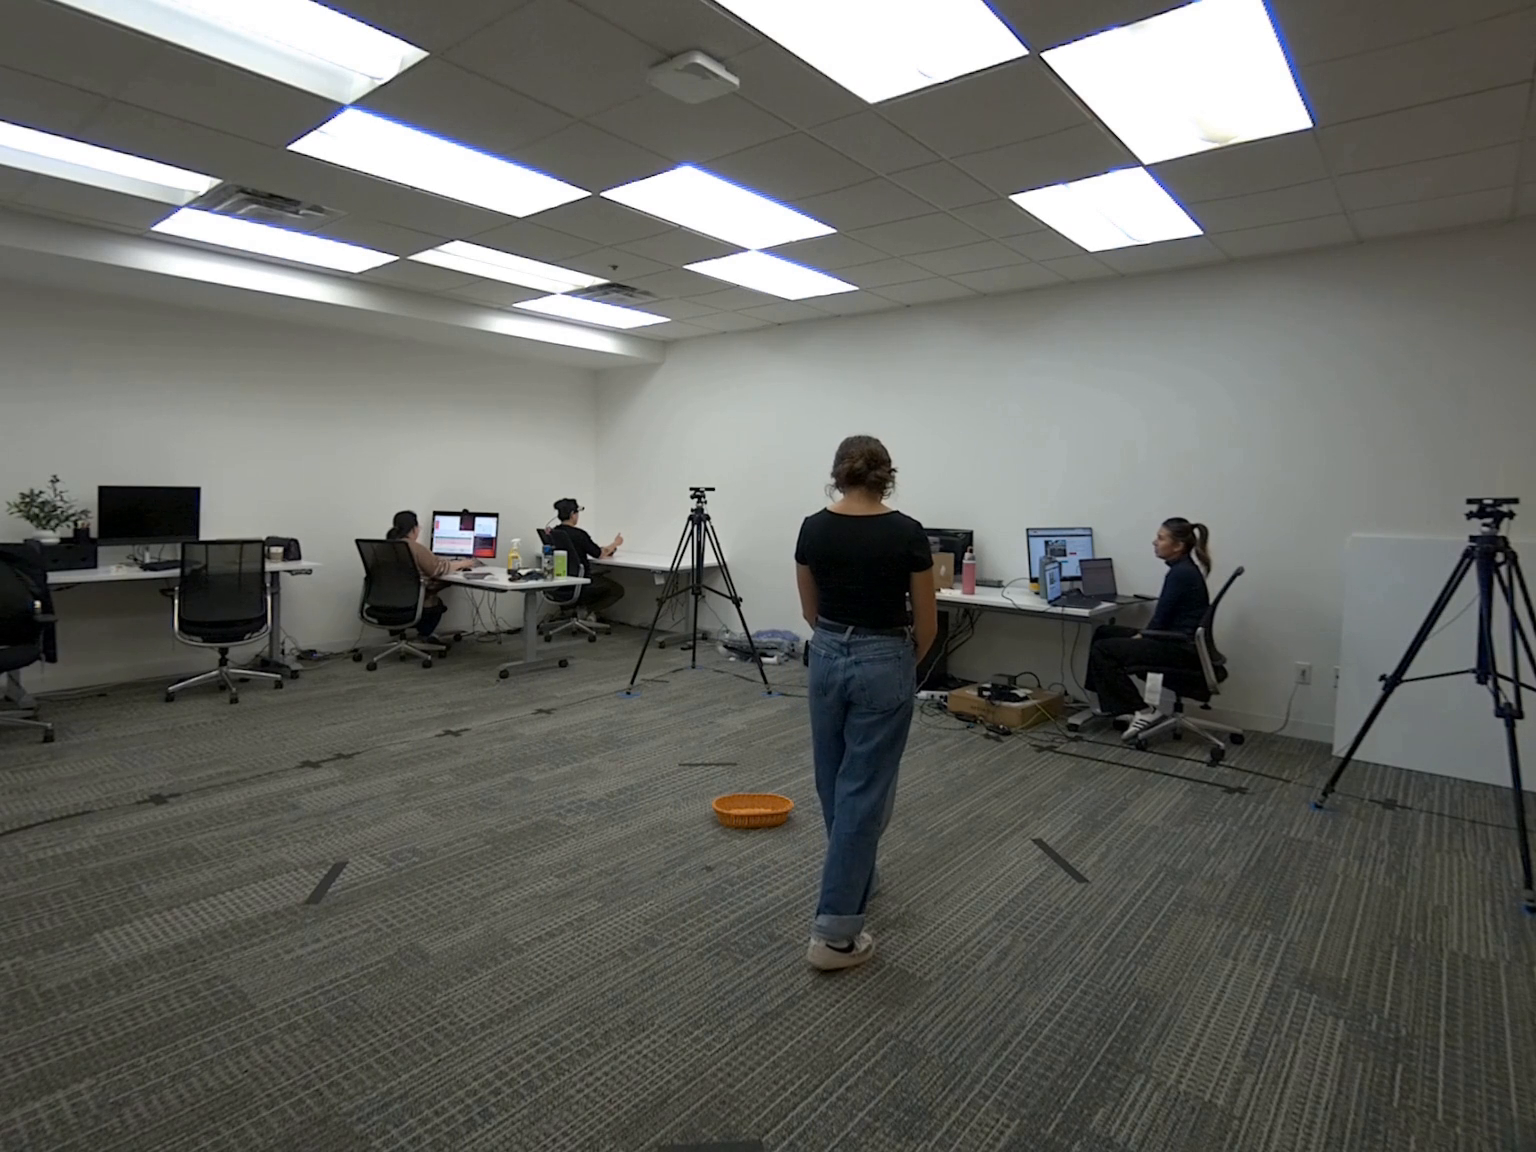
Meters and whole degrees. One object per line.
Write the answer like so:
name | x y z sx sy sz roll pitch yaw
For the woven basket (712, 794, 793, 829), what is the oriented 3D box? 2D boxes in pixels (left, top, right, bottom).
woven basket | -0.077 0.985 3.582 0.347 0.073 0.256 0 4 -10
